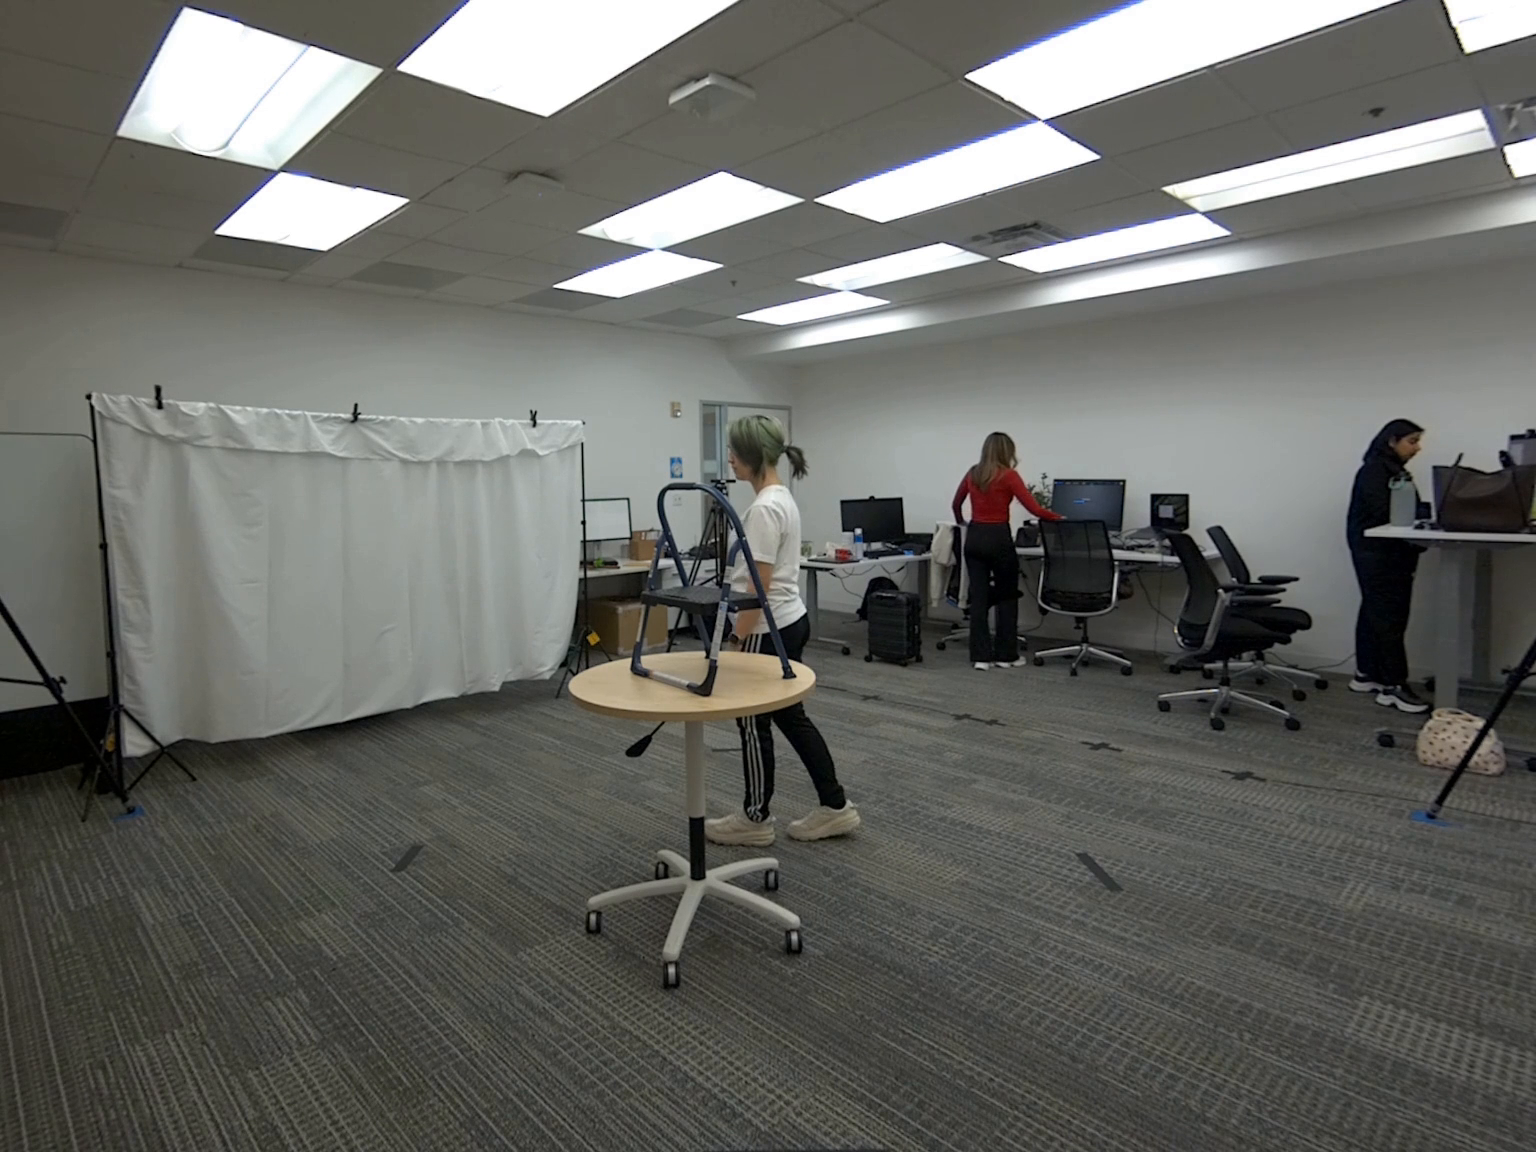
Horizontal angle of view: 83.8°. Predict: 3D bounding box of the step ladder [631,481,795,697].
[{"bbox_3d":[-0.189,0.014,2.666,0.340,0.604,0.444,-5,6,-39],"label":"step ladder"}]
